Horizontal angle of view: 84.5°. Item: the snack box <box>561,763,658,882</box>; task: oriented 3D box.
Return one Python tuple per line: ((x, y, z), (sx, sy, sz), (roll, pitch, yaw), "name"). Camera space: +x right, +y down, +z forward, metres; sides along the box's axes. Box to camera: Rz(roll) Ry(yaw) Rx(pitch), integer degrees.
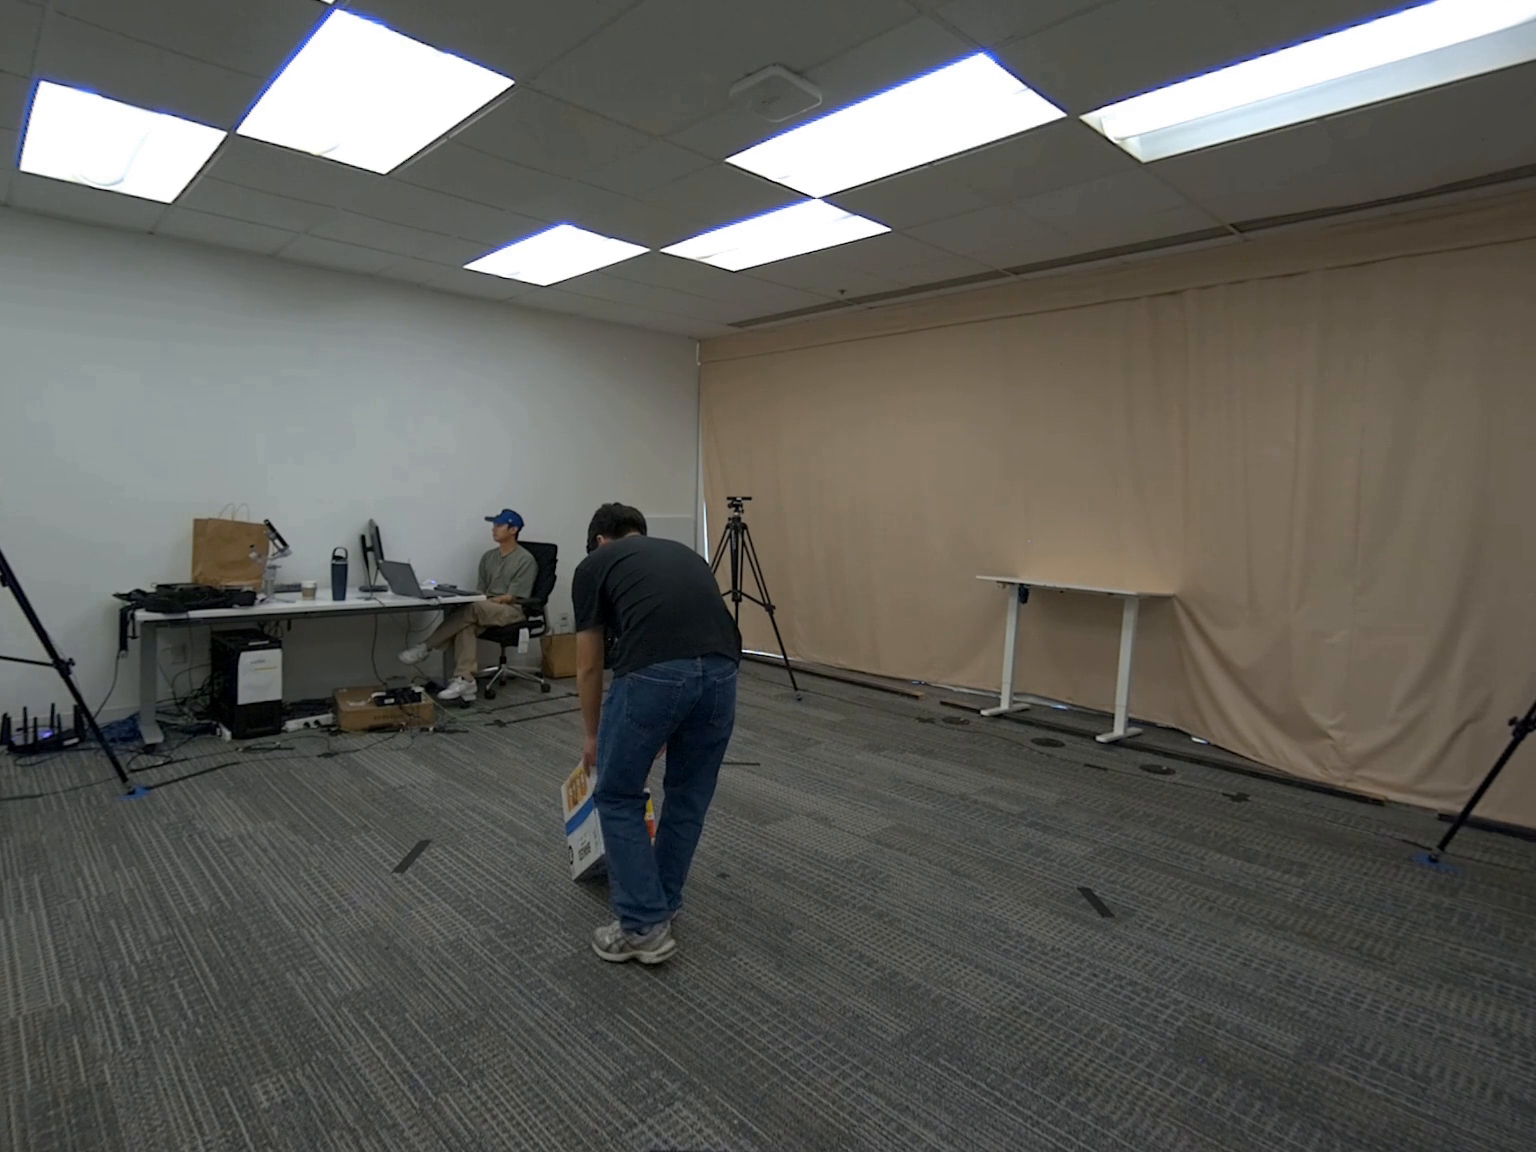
((-0.582, 0.854, 3.001), (0.202, 0.348, 0.404), (1, -30, -27), "snack box")
